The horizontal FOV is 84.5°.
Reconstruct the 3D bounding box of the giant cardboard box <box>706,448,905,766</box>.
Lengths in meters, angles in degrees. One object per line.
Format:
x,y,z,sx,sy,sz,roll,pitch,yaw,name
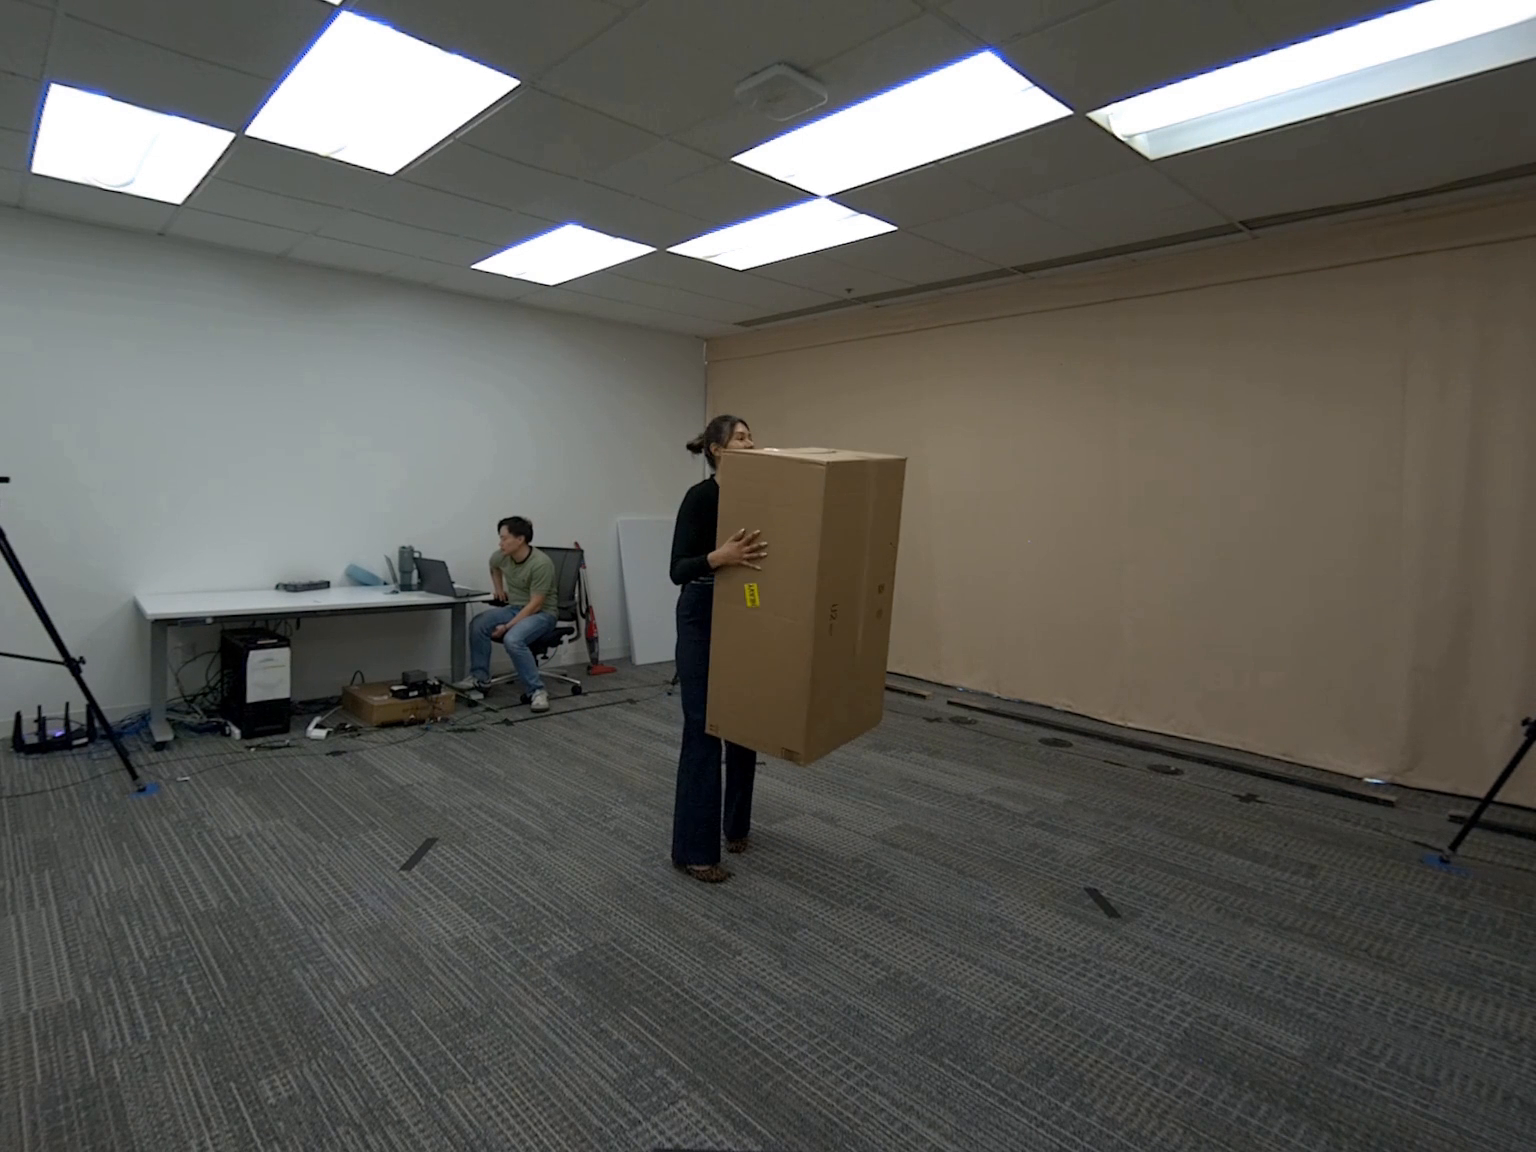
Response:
0.133,0.069,3.046,0.437,1.018,0.567,11,13,34,giant cardboard box
